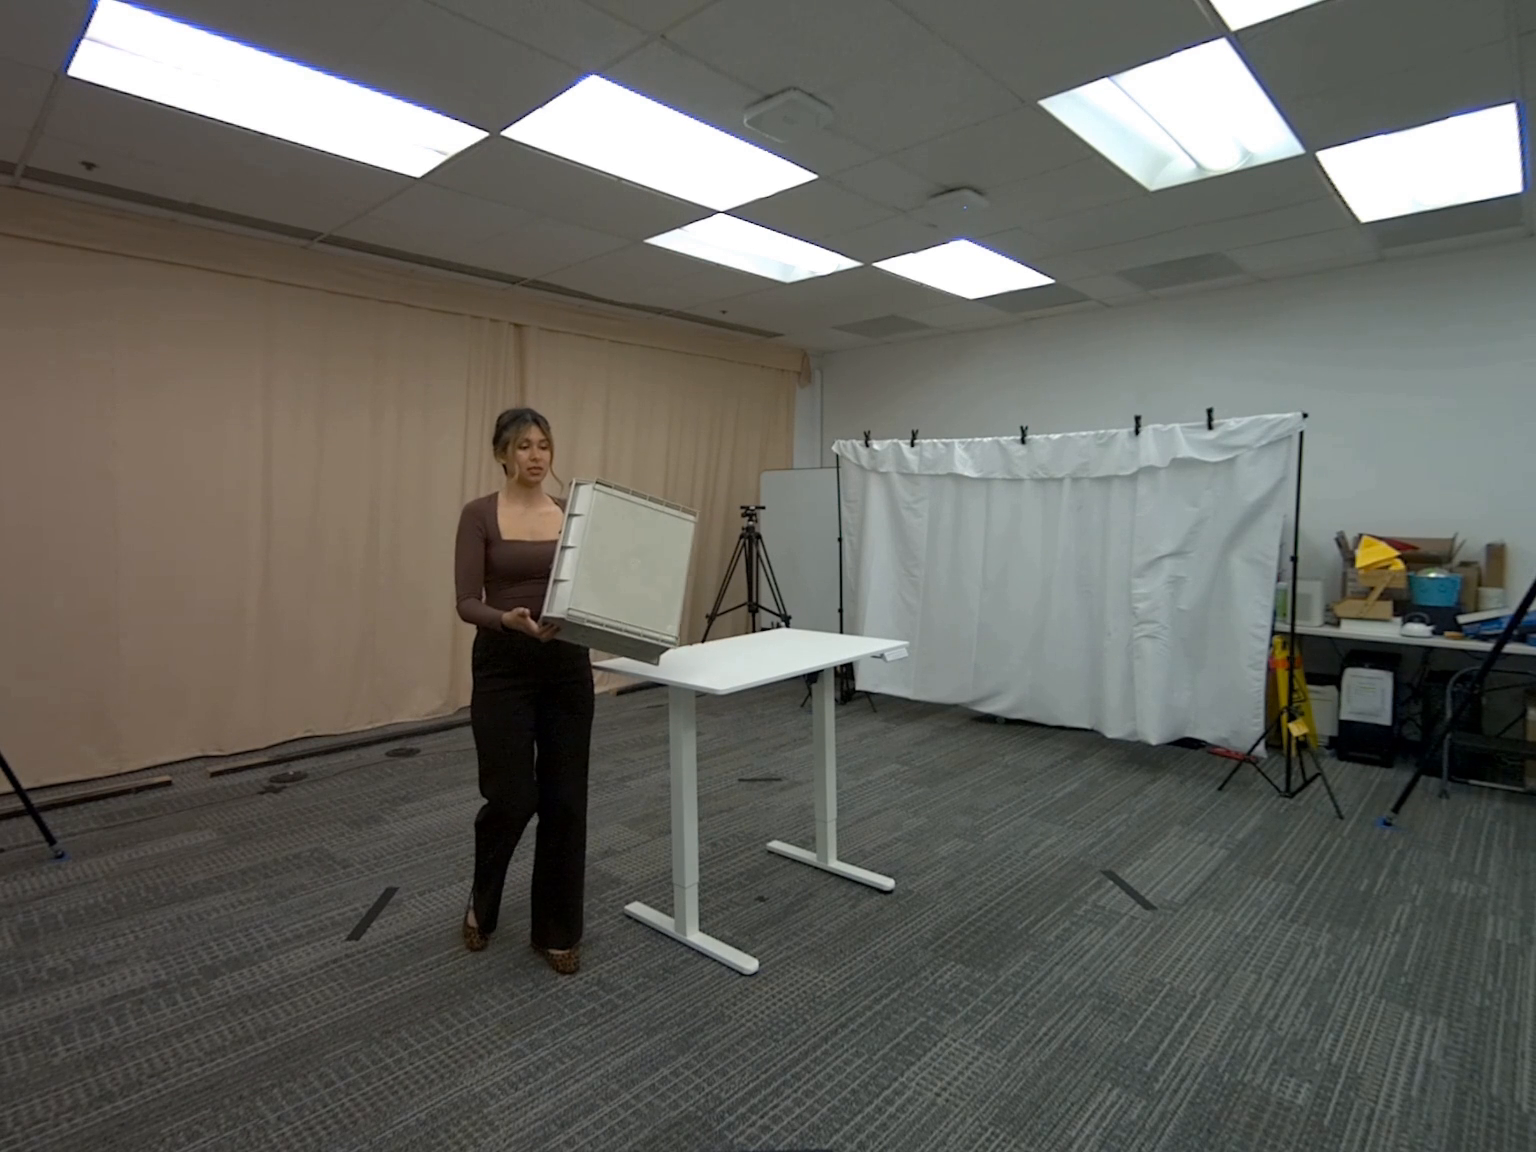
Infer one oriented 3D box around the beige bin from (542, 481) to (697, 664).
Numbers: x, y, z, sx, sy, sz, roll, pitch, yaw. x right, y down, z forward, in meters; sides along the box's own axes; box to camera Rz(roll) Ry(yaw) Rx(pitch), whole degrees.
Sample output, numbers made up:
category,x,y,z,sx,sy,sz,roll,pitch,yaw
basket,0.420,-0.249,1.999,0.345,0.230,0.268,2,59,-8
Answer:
category,x,y,z,sx,sy,sz,roll,pitch,yaw
beige bin,-0.409,-0.013,2.334,0.369,0.427,0.191,17,-26,-19
